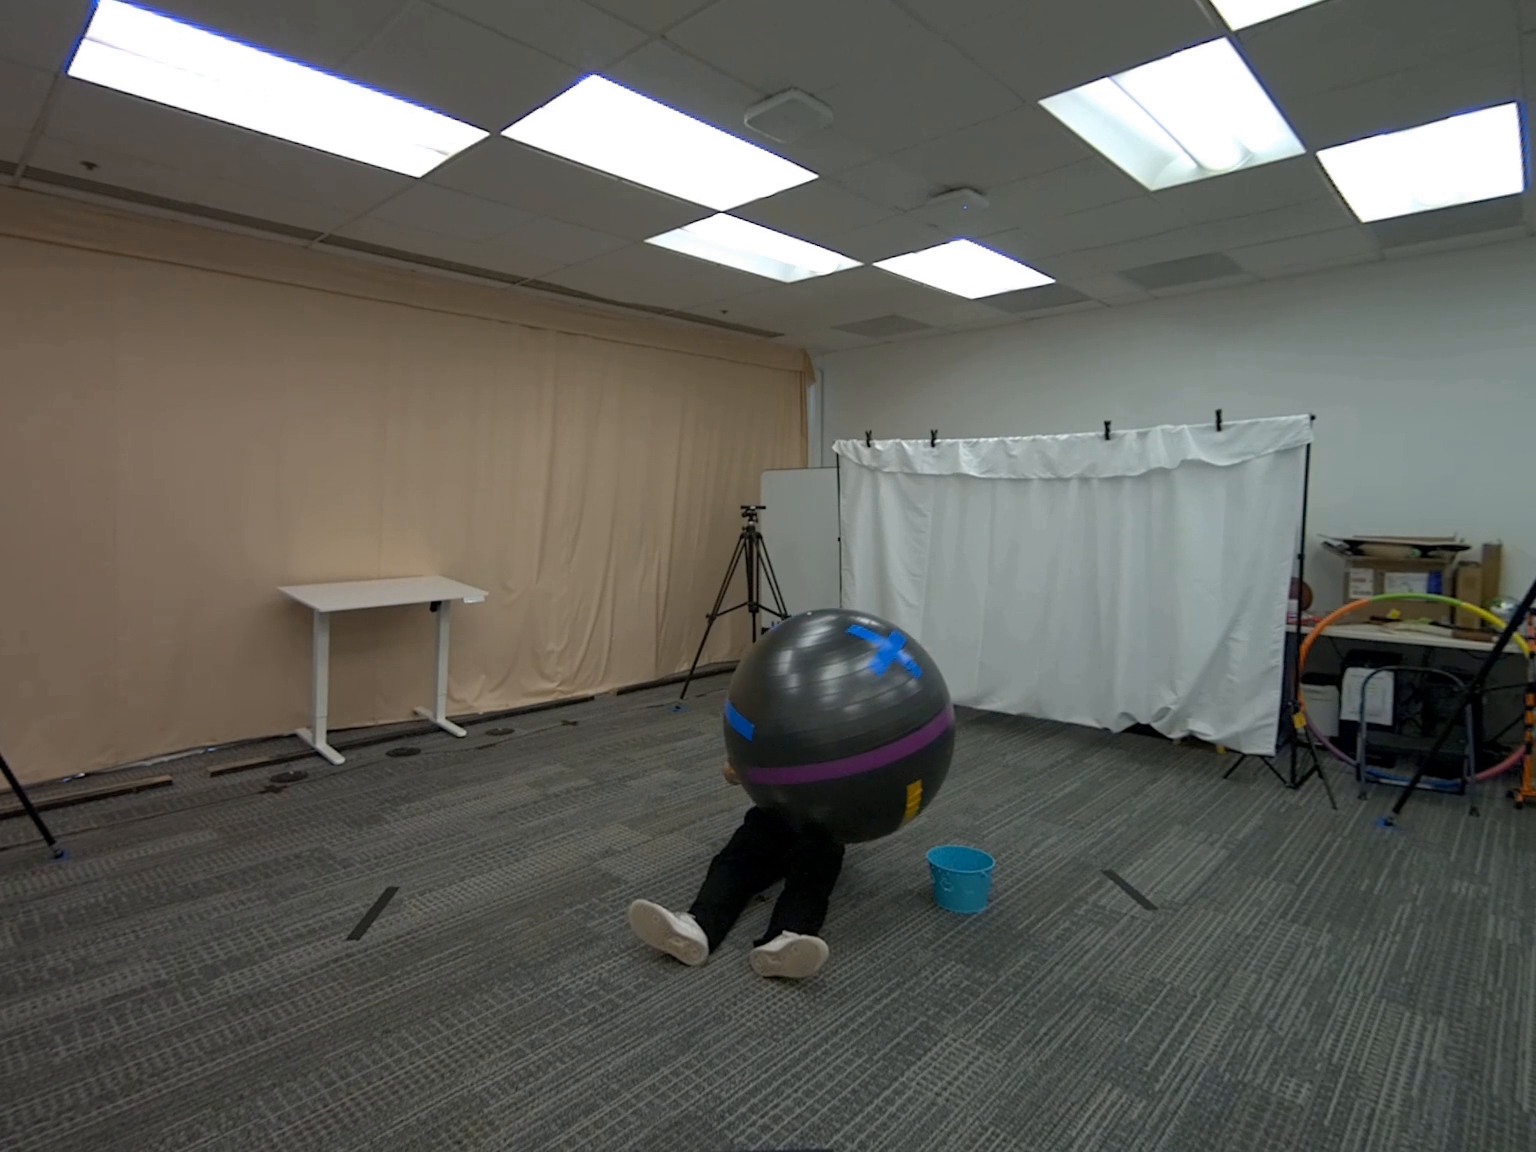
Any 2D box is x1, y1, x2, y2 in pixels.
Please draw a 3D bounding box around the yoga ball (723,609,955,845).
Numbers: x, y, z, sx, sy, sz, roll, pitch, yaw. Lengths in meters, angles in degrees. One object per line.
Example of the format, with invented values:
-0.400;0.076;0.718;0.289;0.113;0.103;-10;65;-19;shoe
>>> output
0.231;0.499;2.802;0.757;0.756;0.760;0;4;-2;yoga ball
